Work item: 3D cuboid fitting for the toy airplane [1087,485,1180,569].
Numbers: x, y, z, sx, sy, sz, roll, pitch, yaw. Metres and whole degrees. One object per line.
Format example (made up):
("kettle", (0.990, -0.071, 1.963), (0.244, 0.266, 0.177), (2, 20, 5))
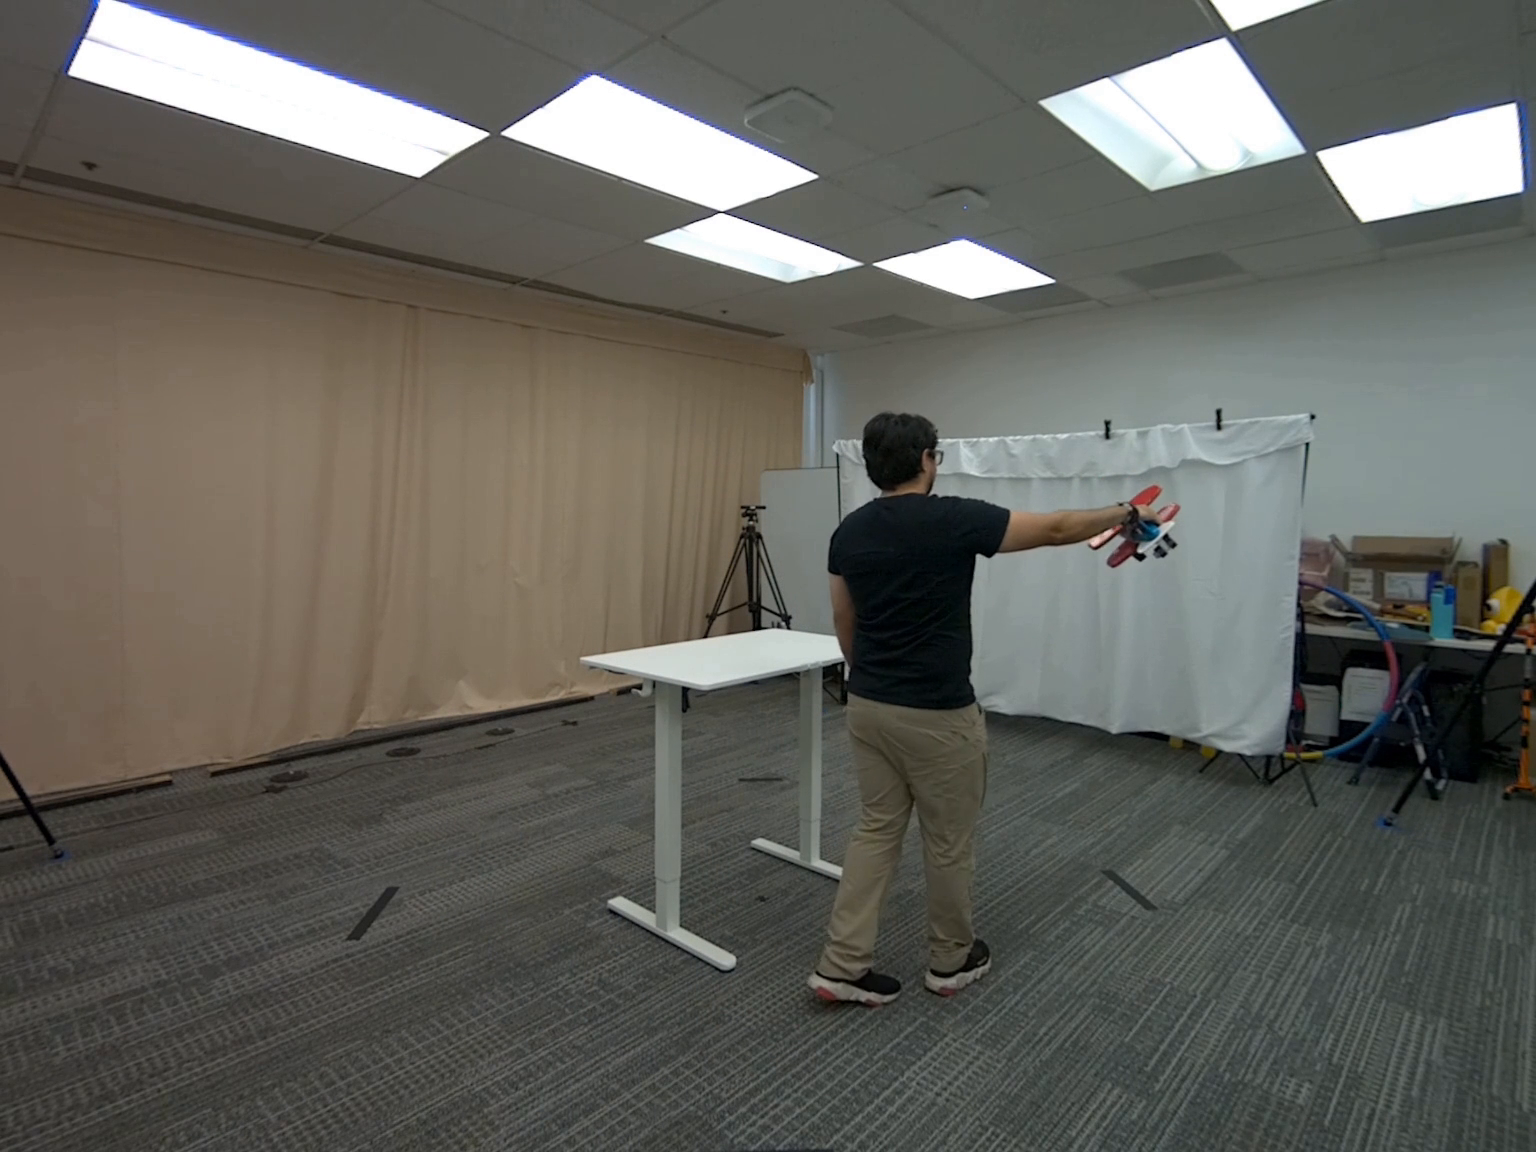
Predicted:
("toy airplane", (1.114, -0.141, 2.427), (0.250, 0.158, 0.258), (-43, -6, -16))
